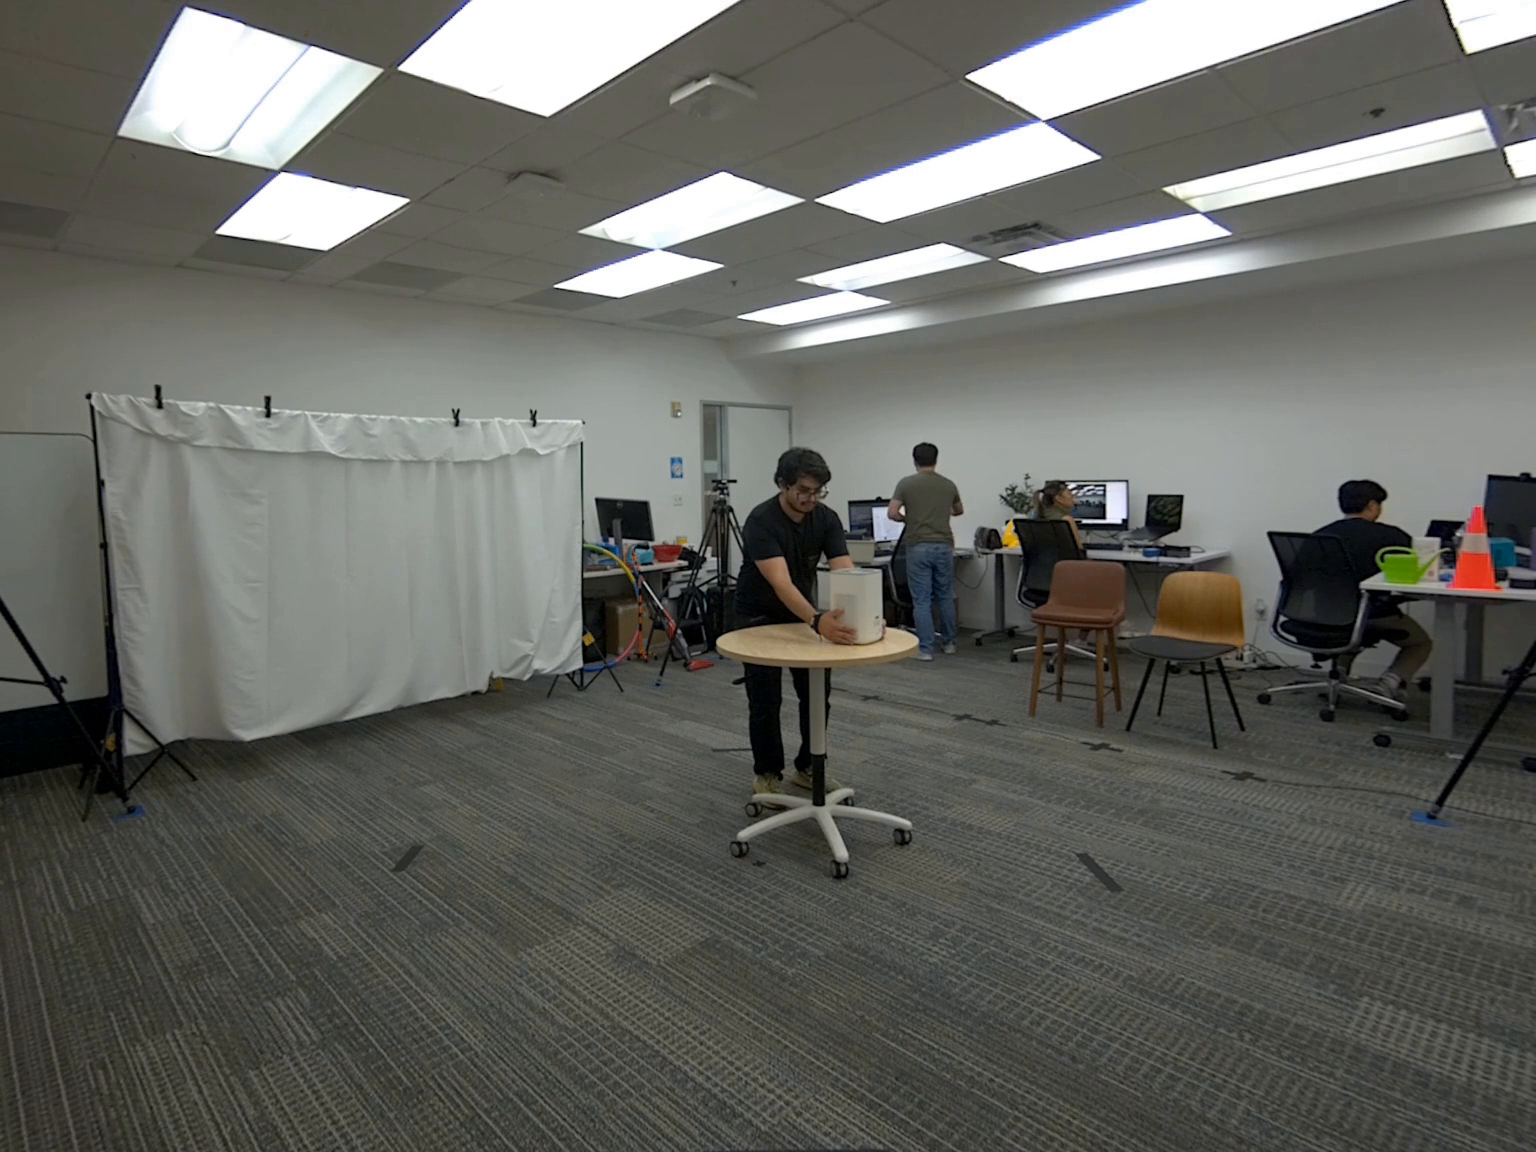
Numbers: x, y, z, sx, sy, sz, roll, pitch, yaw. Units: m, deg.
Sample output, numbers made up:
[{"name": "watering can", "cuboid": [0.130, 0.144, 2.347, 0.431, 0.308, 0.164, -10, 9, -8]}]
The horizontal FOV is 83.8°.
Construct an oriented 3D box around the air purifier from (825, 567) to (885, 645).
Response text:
[{"name": "air purifier", "cuboid": [0.334, 0.116, 3.200, 0.176, 0.264, 0.167, 4, 5, 28]}]
